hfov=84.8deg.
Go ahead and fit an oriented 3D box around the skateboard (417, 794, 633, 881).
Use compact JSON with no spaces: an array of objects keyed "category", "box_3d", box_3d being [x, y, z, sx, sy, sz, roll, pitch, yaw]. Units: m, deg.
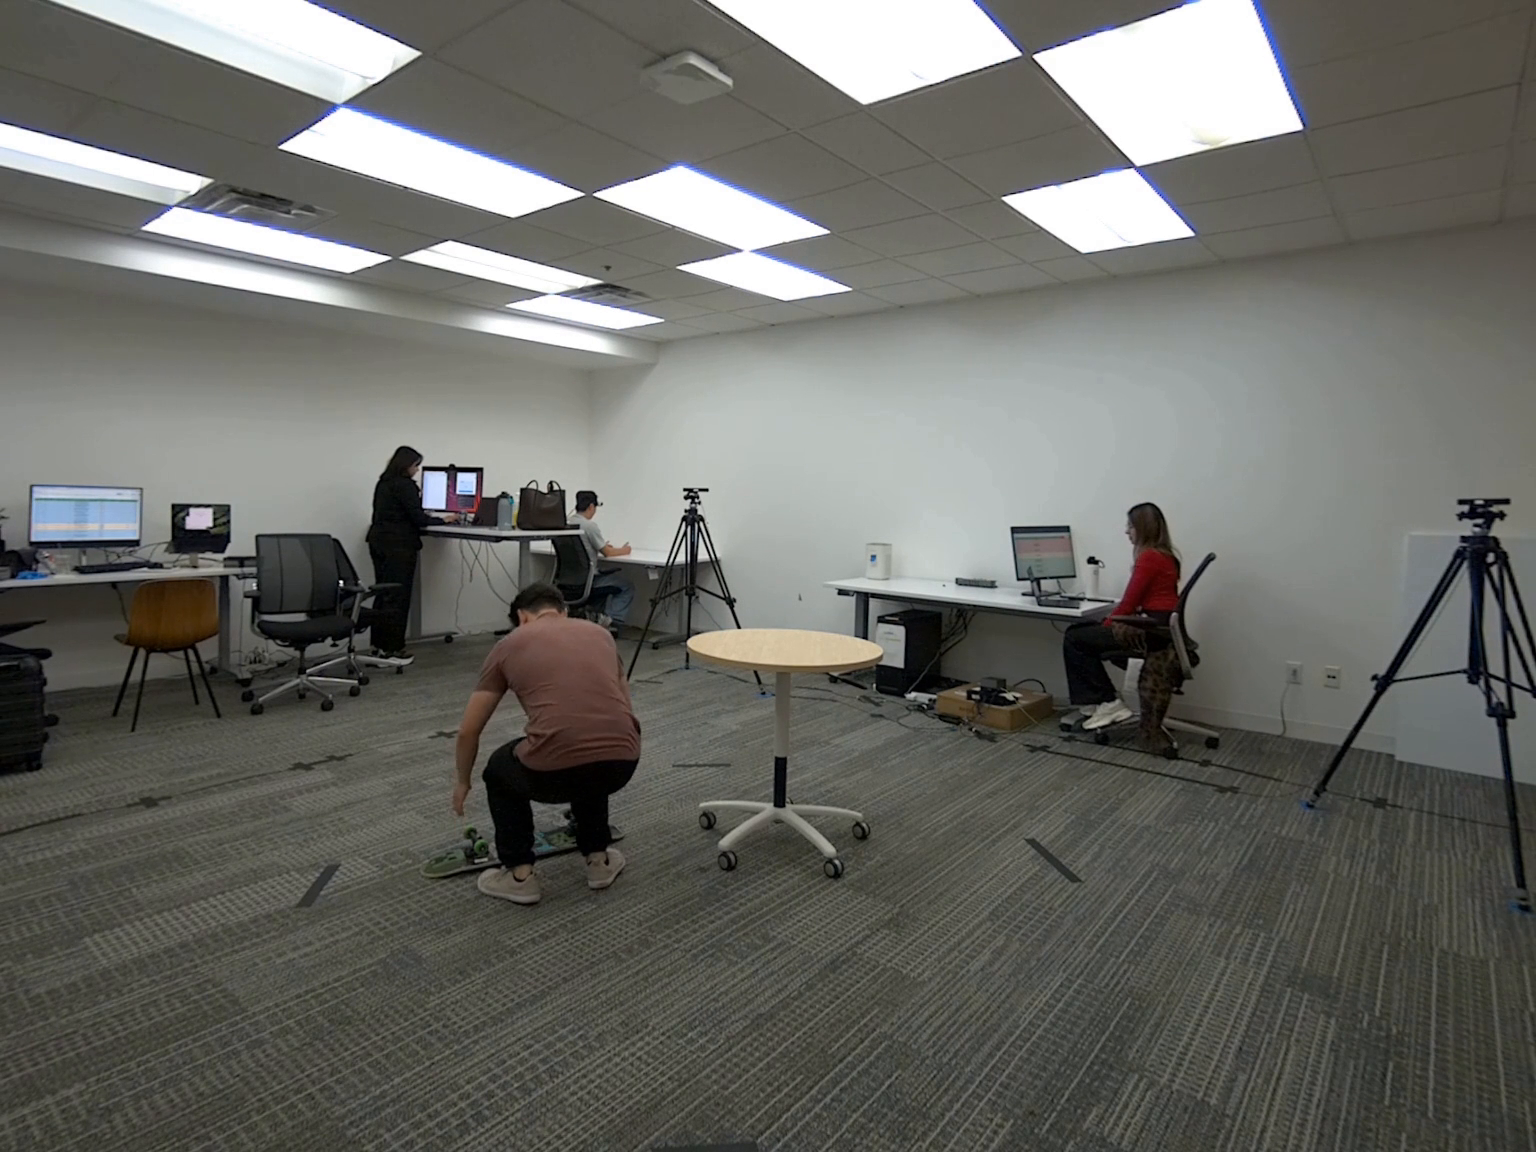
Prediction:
[{"category":"skateboard","box_3d":[-0.920,0.987,3.234,0.764,0.110,0.199,-3,6,-32]}]
